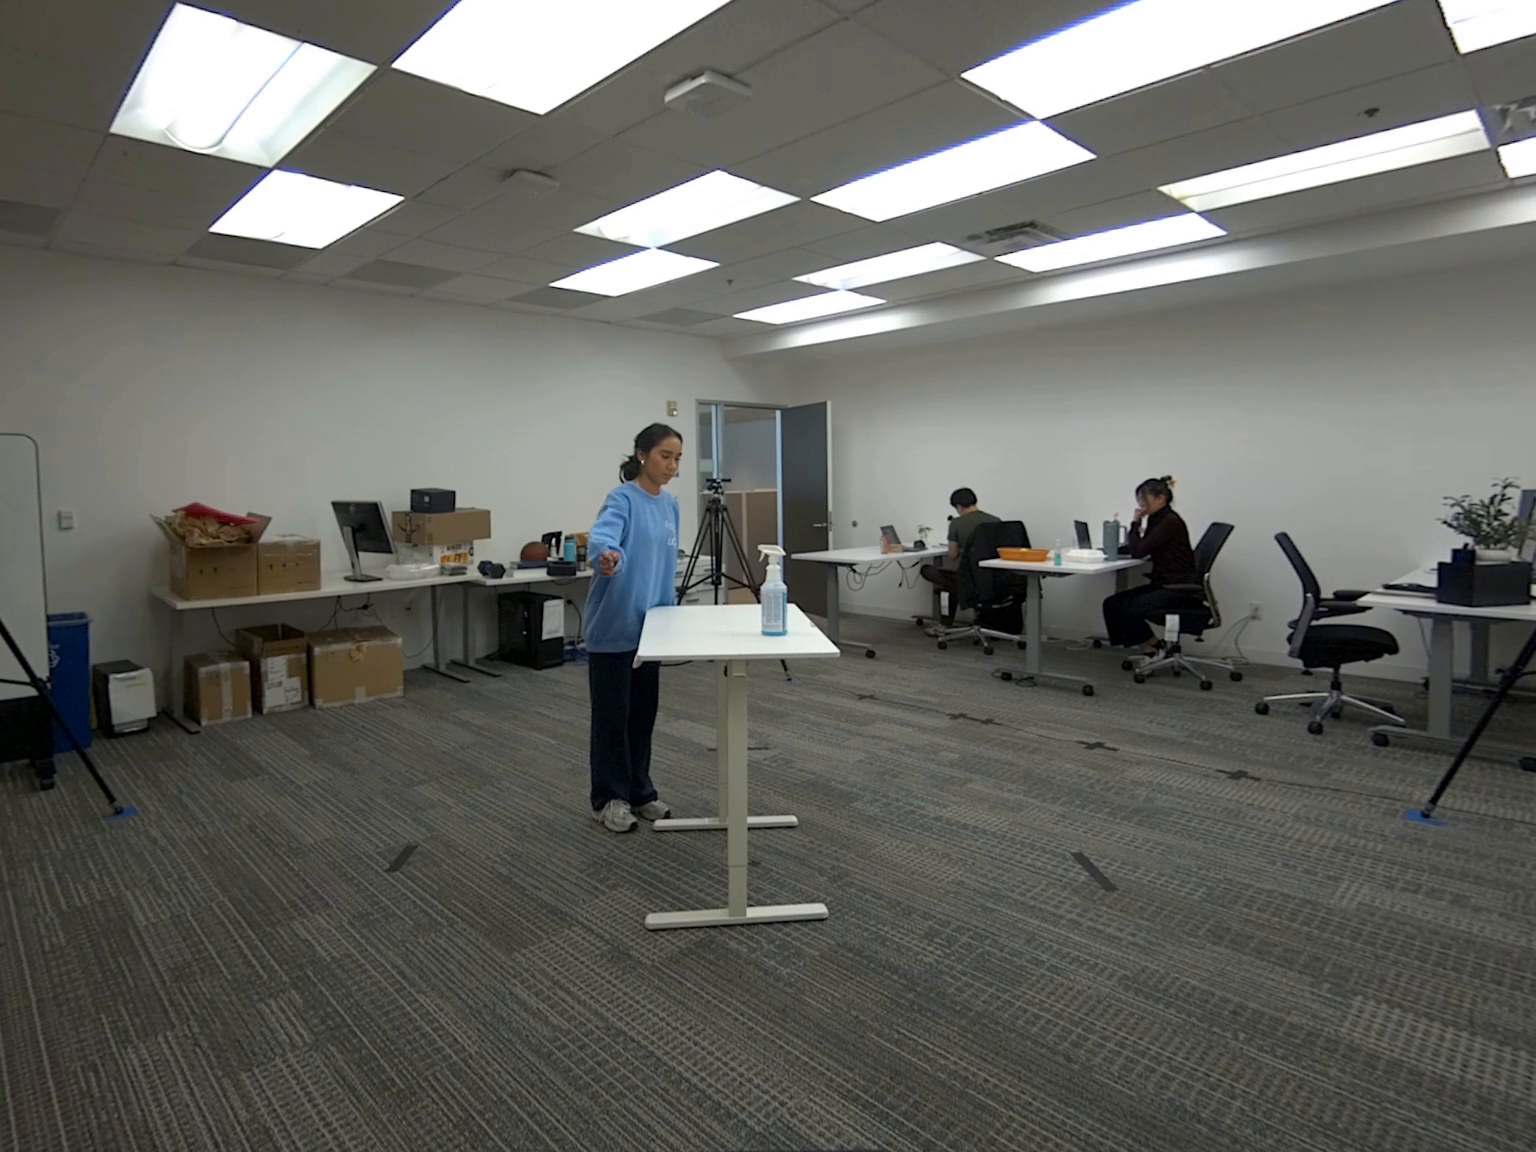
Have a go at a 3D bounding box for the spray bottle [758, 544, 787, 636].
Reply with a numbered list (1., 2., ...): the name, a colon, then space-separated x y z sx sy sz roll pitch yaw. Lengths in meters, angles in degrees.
1. spray bottle: 0.022 0.048 2.825 0.093 0.296 0.085 4 6 42
